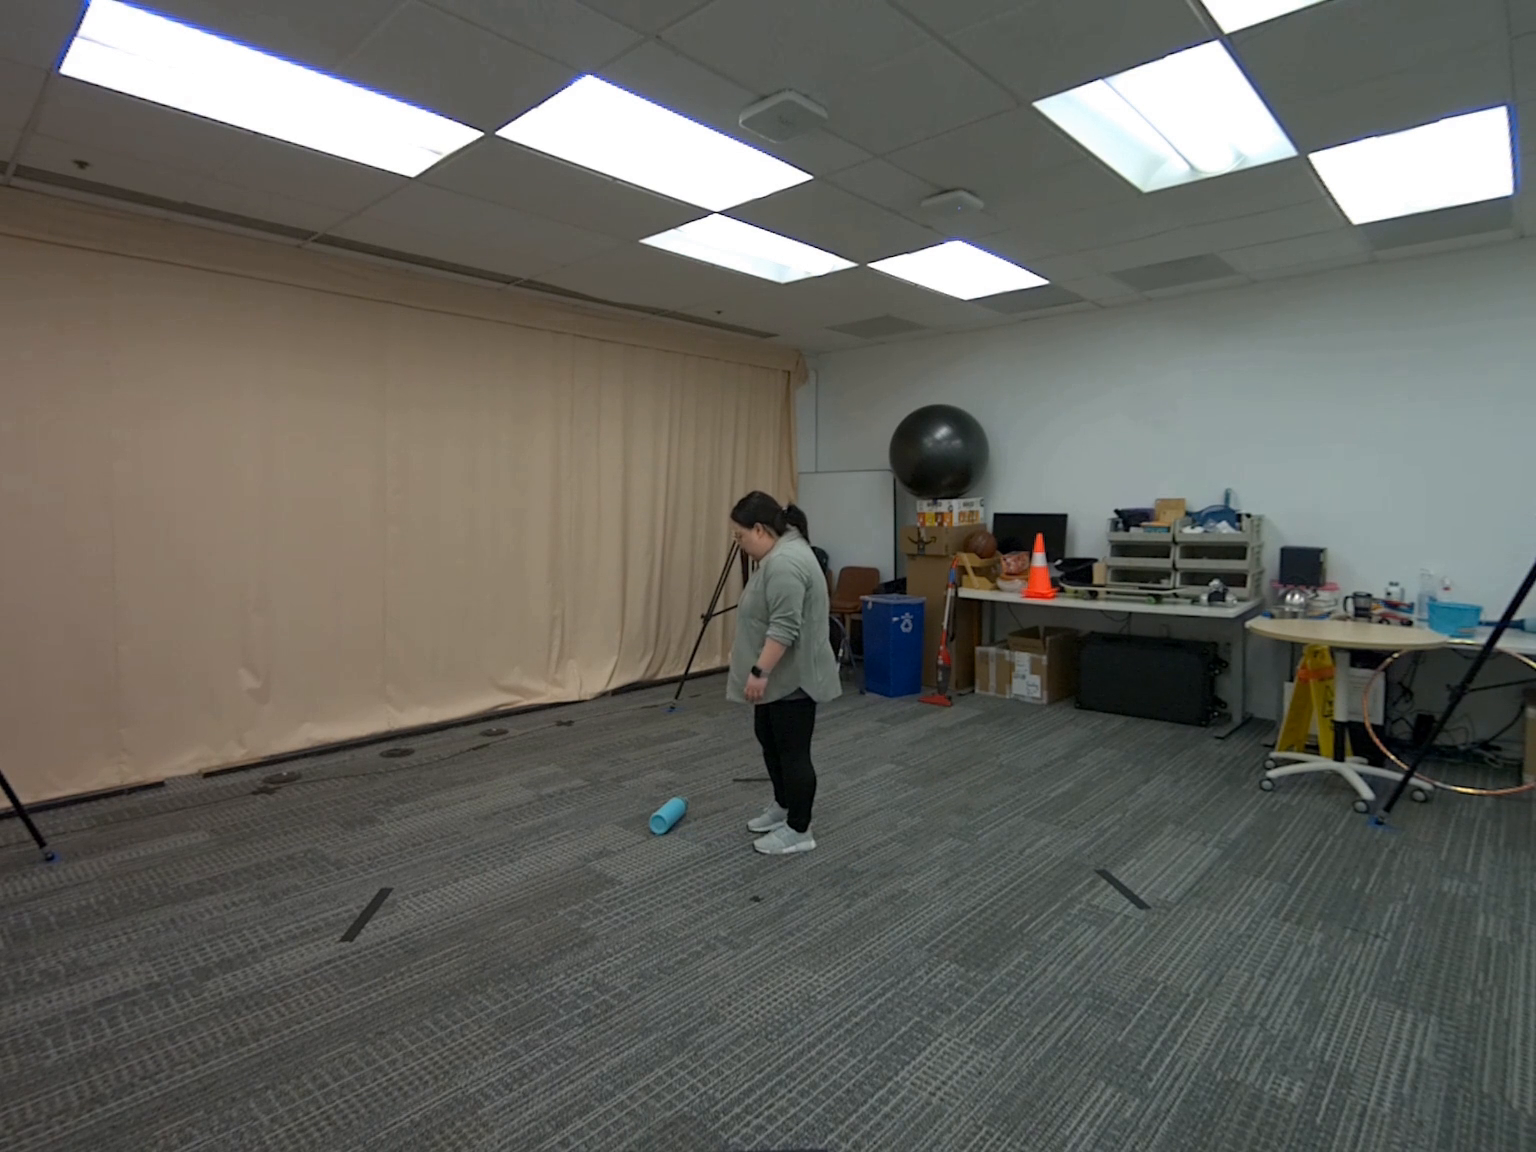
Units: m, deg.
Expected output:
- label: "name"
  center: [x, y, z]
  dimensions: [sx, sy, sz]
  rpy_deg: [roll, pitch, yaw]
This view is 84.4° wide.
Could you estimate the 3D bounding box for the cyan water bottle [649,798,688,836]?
- label: "cyan water bottle"
  center: [-0.430, 1.042, 3.706]
  dimensions: [0.094, 0.092, 0.279]
  rpy_deg: [1, 5, 14]
